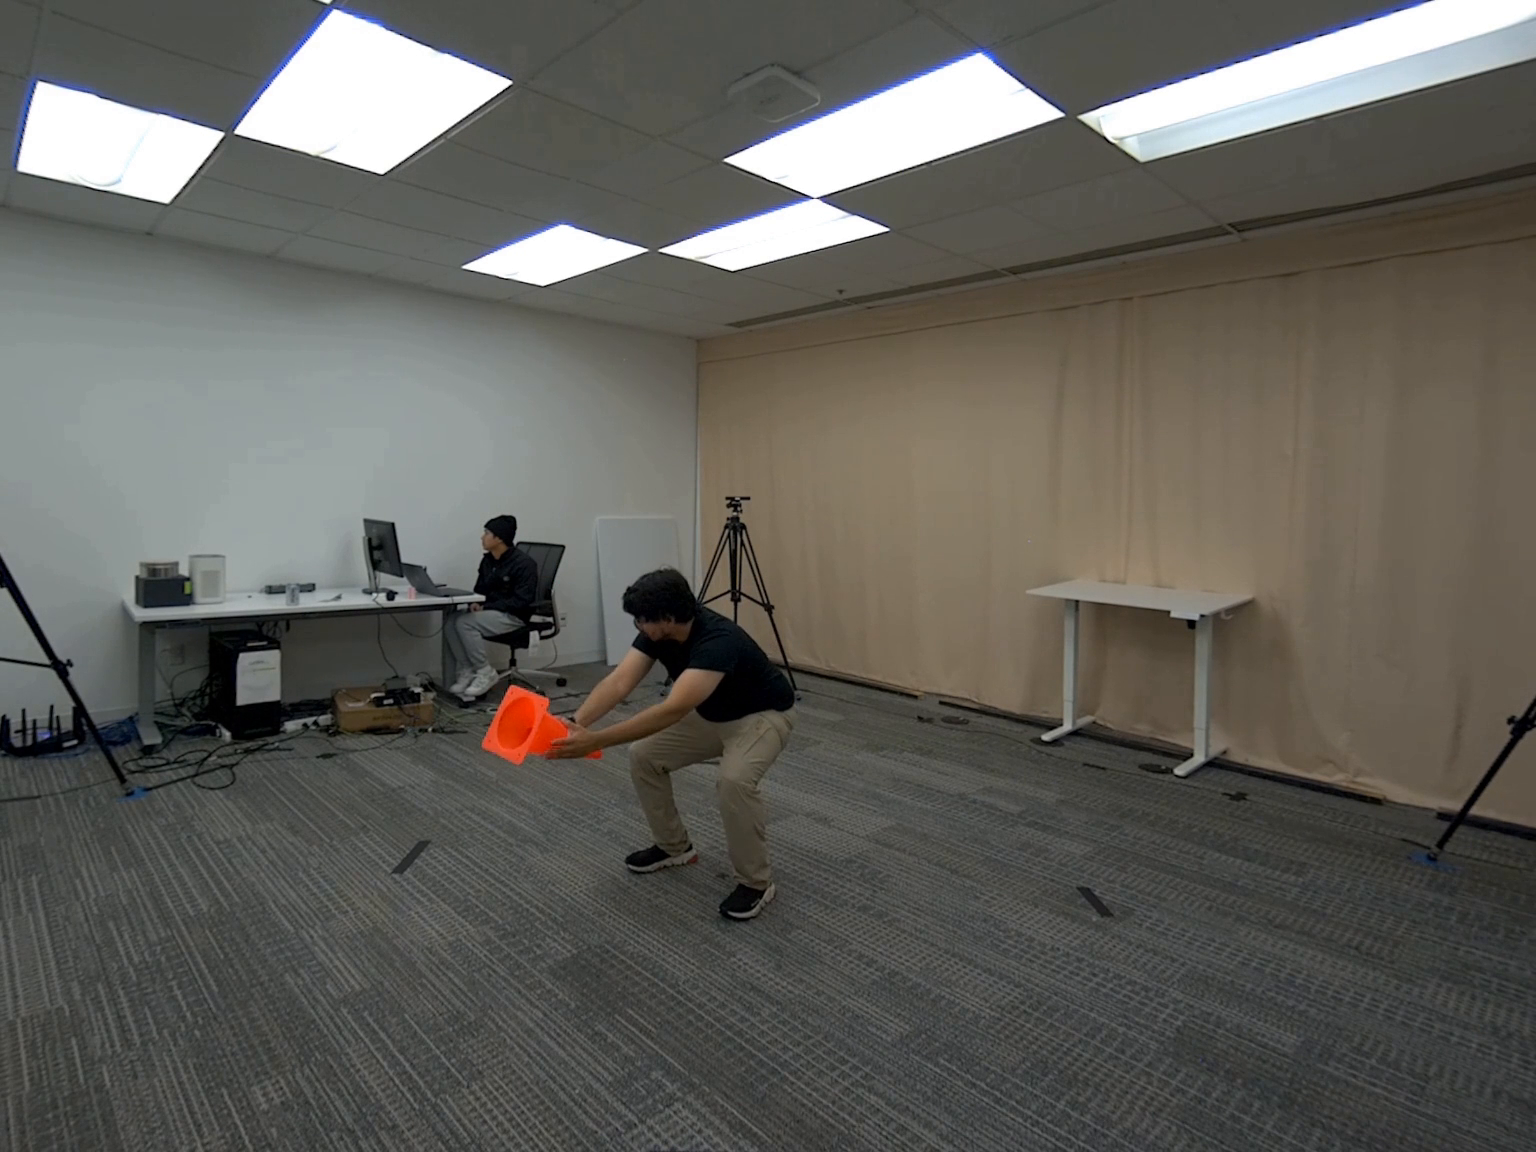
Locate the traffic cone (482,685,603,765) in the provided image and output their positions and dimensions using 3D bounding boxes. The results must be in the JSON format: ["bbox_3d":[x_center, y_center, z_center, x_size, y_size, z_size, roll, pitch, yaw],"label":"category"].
[{"bbox_3d":[-0.643,0.504,2.587,0.210,0.204,0.371,10,-16,38],"label":"traffic cone"}]
